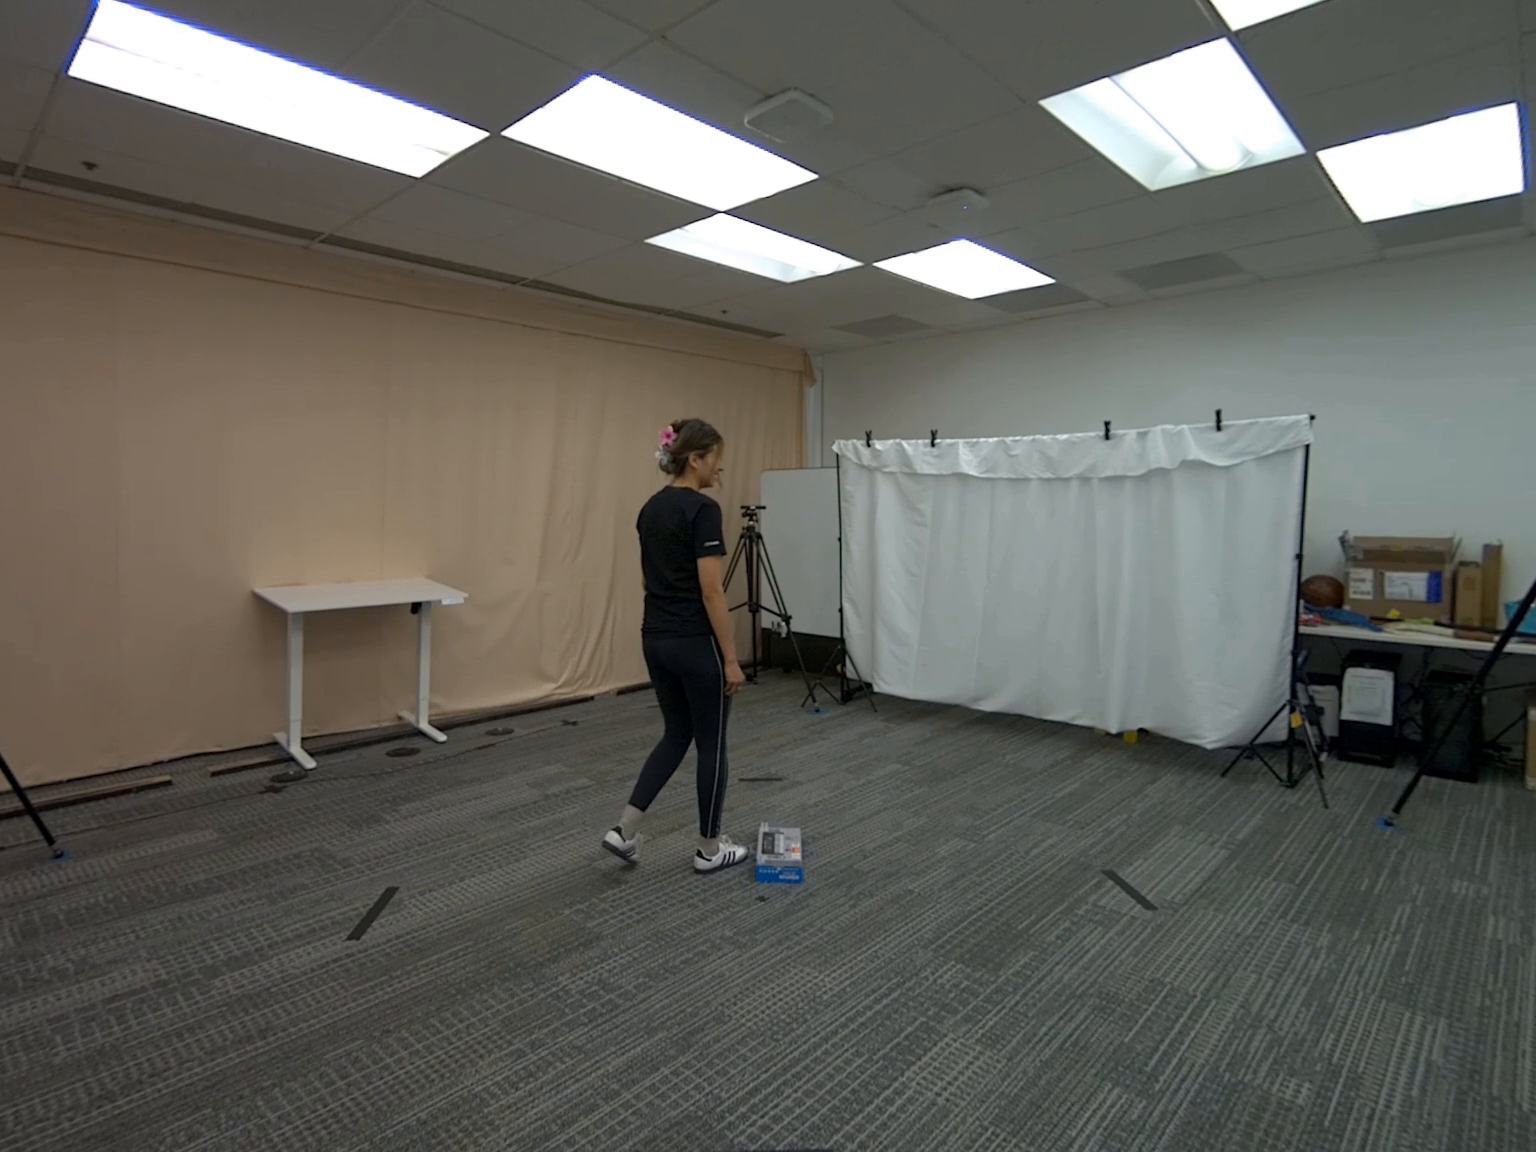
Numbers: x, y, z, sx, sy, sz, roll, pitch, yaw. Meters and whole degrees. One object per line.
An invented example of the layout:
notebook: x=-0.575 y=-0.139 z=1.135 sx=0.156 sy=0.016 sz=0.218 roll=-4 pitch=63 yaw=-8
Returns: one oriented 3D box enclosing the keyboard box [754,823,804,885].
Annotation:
keyboard box: x=0.049 y=1.085 z=3.328 sx=0.176 sy=0.059 sz=0.436 roll=1 pitch=5 yaw=2
